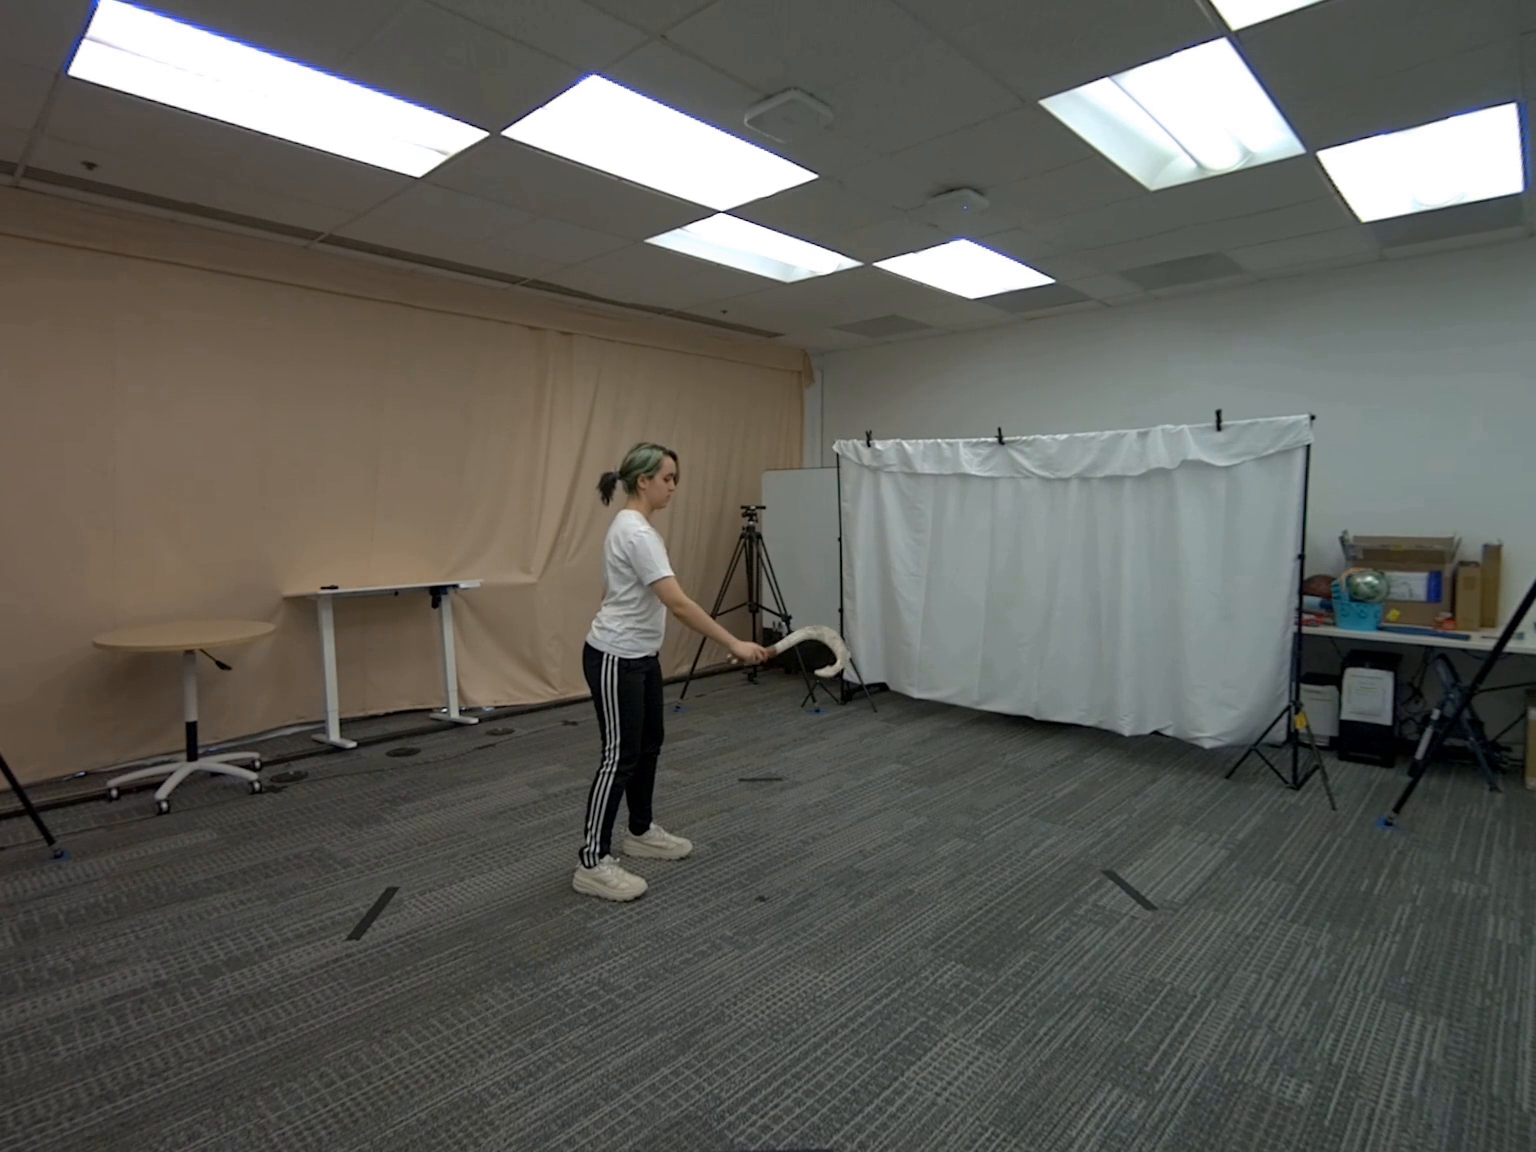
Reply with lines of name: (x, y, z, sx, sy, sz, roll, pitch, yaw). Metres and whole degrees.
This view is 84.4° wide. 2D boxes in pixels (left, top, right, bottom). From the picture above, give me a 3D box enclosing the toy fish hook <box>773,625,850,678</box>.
toy fish hook: (0.084, 0.296, 3.109, 0.494, 0.048, 0.232, -12, 50, -31)
